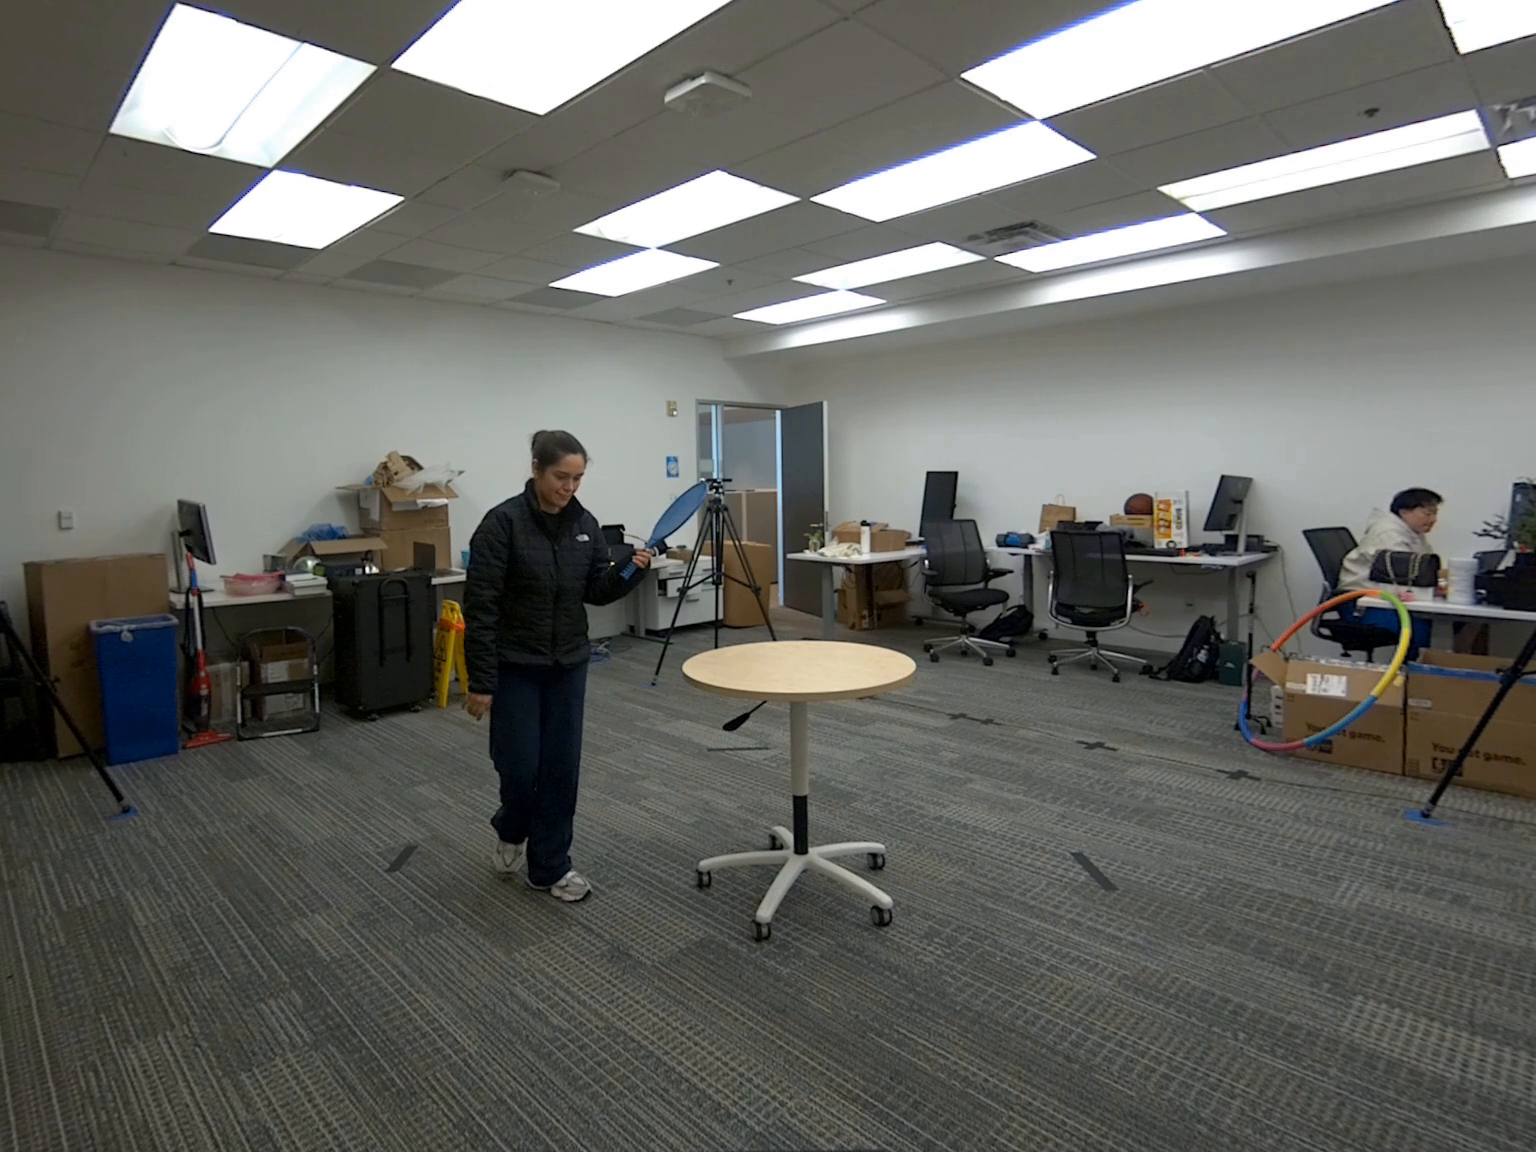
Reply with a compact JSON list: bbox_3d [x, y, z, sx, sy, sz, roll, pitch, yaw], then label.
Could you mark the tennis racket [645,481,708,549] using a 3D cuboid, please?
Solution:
[{"bbox_3d":[-0.351,-0.155,2.870,0.031,0.433,0.220,45,-11,-28],"label":"tennis racket"}]
